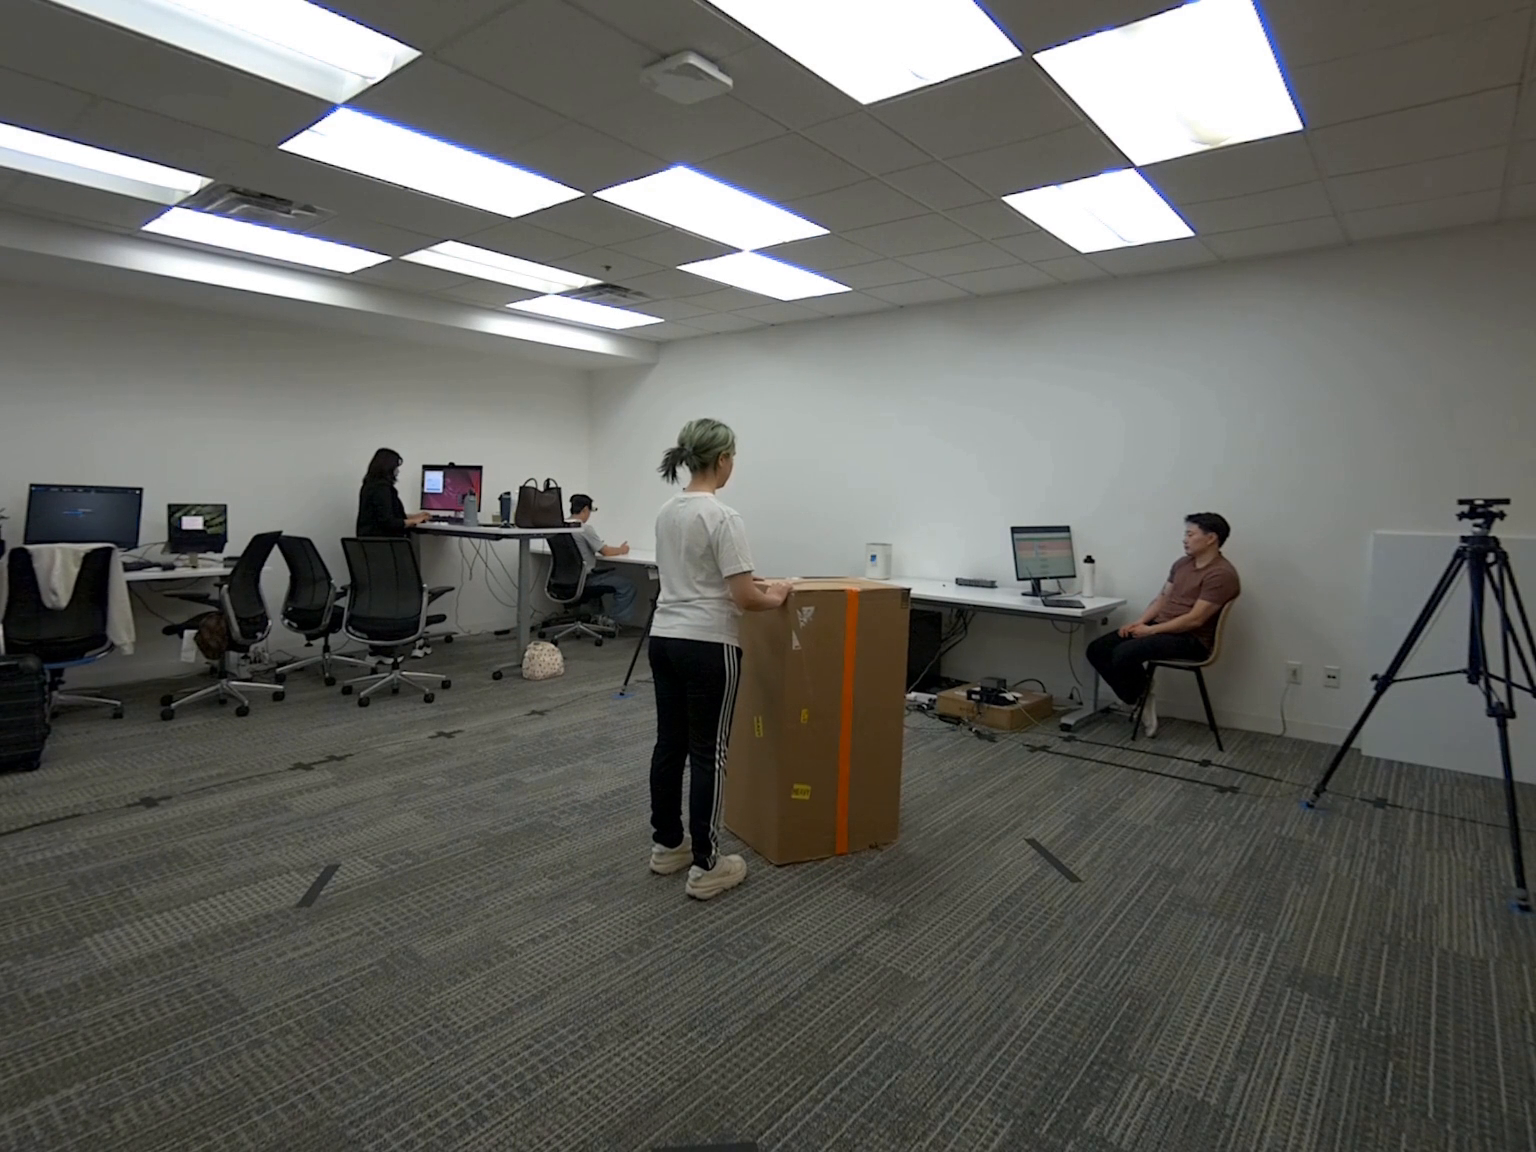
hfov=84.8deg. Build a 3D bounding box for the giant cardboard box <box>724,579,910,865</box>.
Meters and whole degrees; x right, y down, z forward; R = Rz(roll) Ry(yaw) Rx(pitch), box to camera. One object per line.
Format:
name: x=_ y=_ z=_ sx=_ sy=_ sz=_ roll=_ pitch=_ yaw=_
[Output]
giant cardboard box: x=0.186 y=0.536 z=3.434 sx=0.568 sy=1.025 sz=0.460 roll=0 pitch=3 yaw=-31
